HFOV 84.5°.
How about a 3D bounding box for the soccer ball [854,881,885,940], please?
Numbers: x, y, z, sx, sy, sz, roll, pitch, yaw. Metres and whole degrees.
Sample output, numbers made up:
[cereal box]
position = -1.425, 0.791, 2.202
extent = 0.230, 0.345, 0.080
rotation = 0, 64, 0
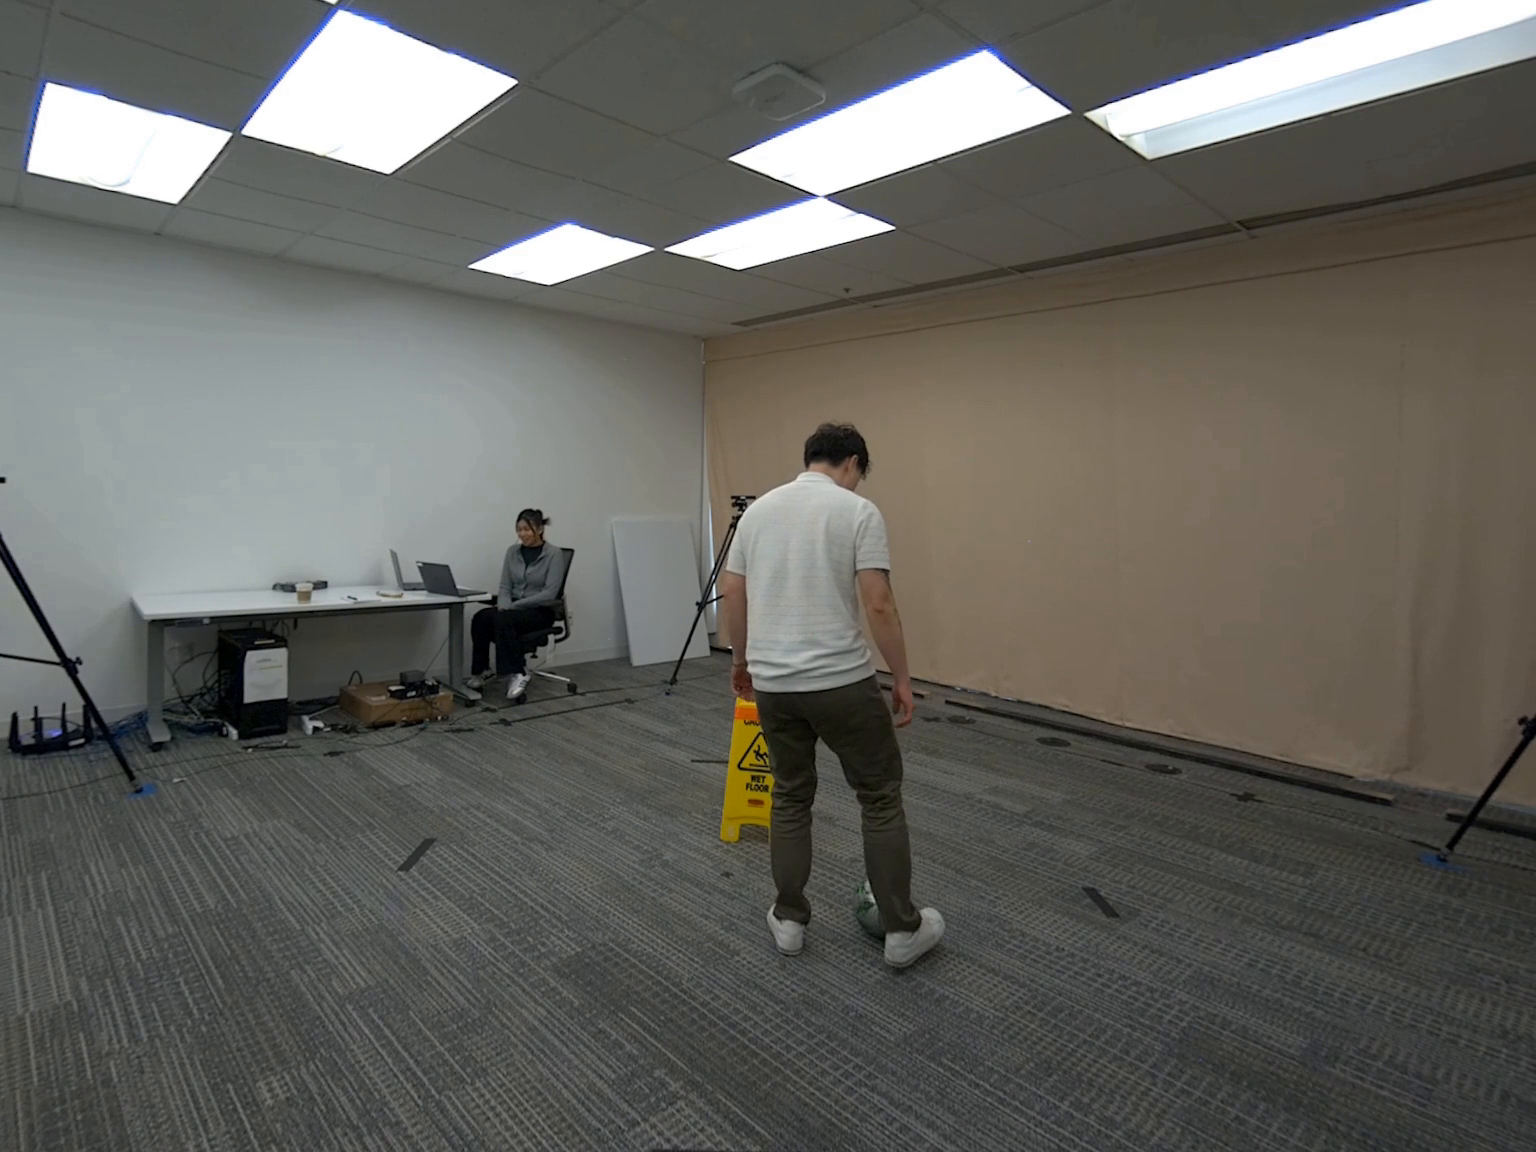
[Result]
[soccer ball]
position = 0.353, 1.056, 2.709
extent = 0.187, 0.187, 0.188
rotation = 1, 4, -1
